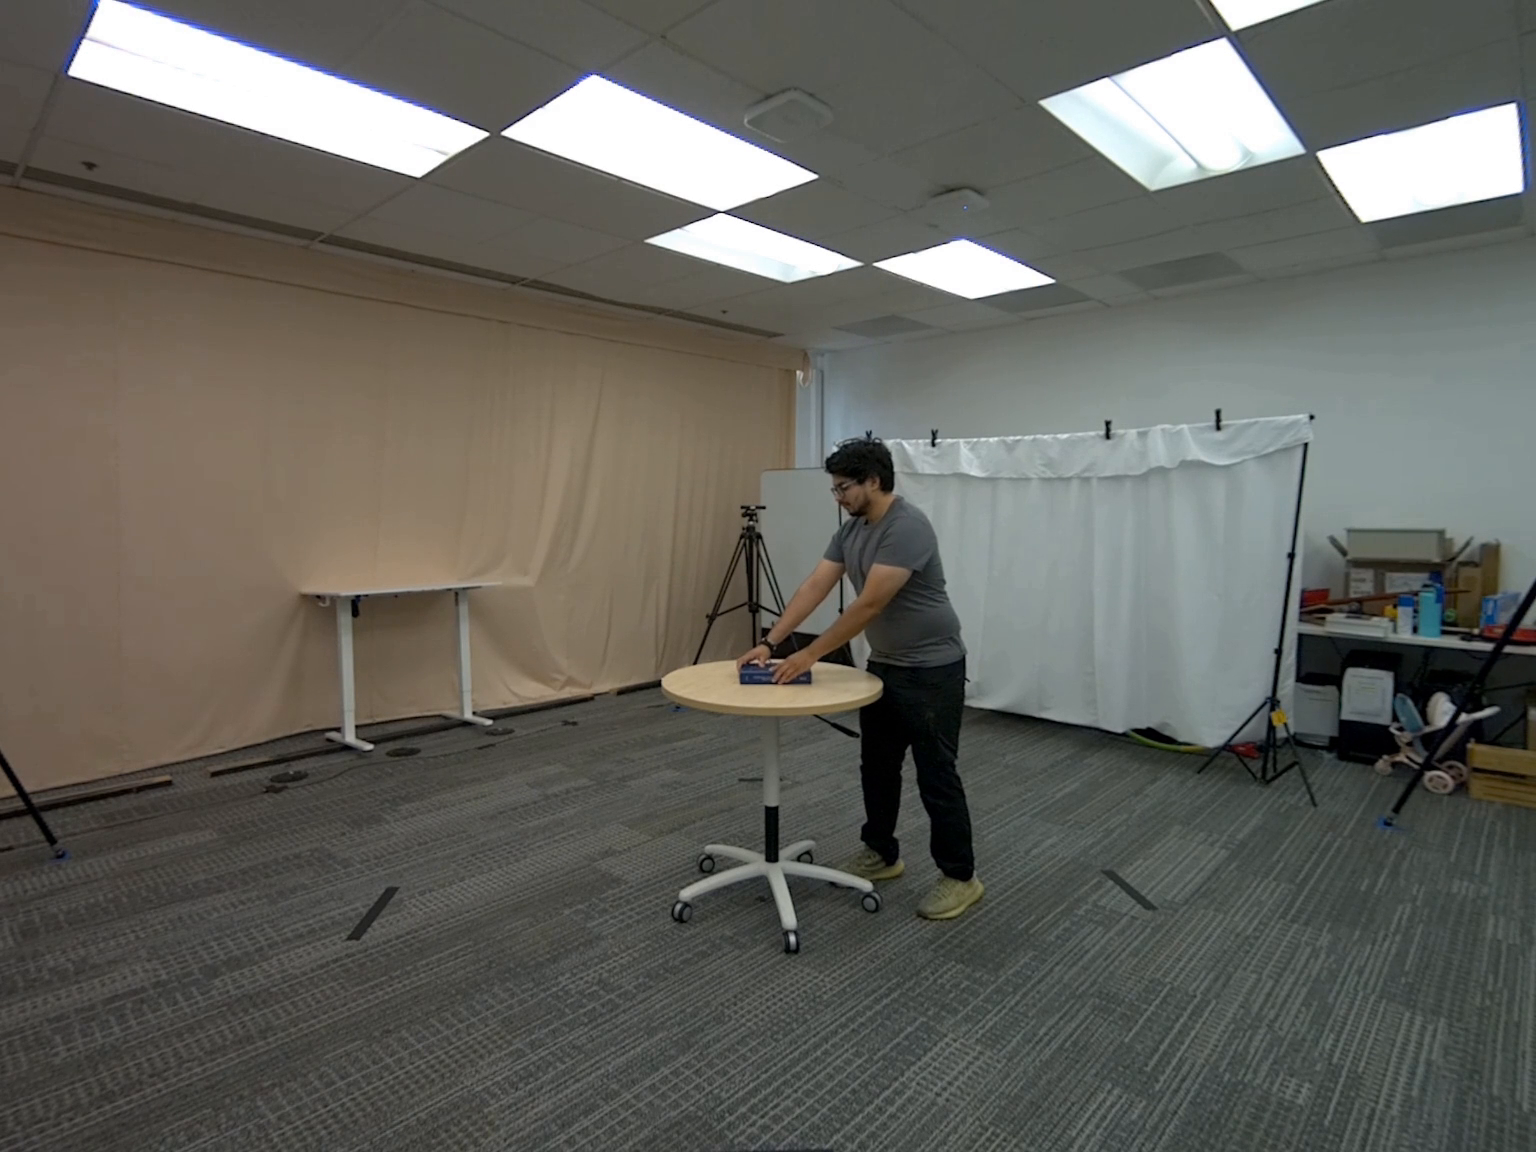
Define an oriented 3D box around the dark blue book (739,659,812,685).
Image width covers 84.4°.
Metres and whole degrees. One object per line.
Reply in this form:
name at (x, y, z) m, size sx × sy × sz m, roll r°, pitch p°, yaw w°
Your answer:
dark blue book at (0.036, 0.350, 2.949) m, size 0.245 × 0.045 × 0.163 m, roll 0°, pitch 5°, yaw 1°
